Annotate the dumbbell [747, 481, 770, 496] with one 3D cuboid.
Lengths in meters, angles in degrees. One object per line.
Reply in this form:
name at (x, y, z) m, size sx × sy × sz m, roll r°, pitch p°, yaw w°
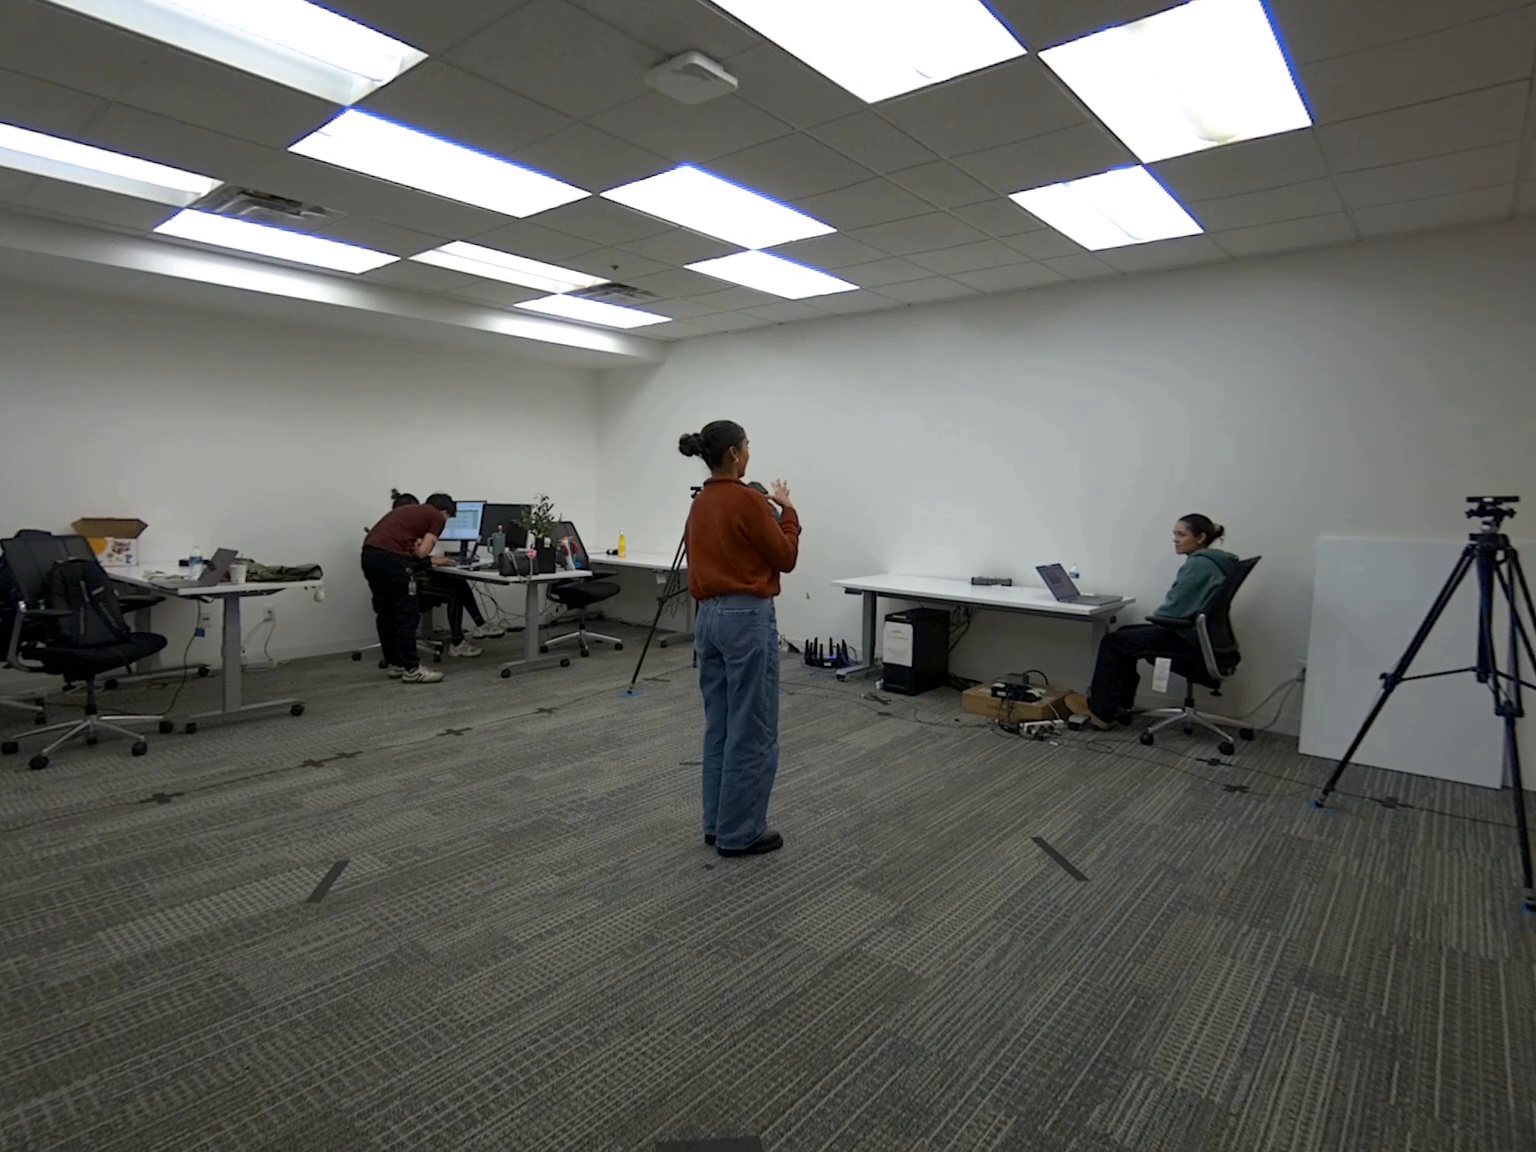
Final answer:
dumbbell at (-0.008, -0.255, 3.437) m, size 0.123 × 0.302 × 0.106 m, roll -39°, pitch -22°, yaw -9°
